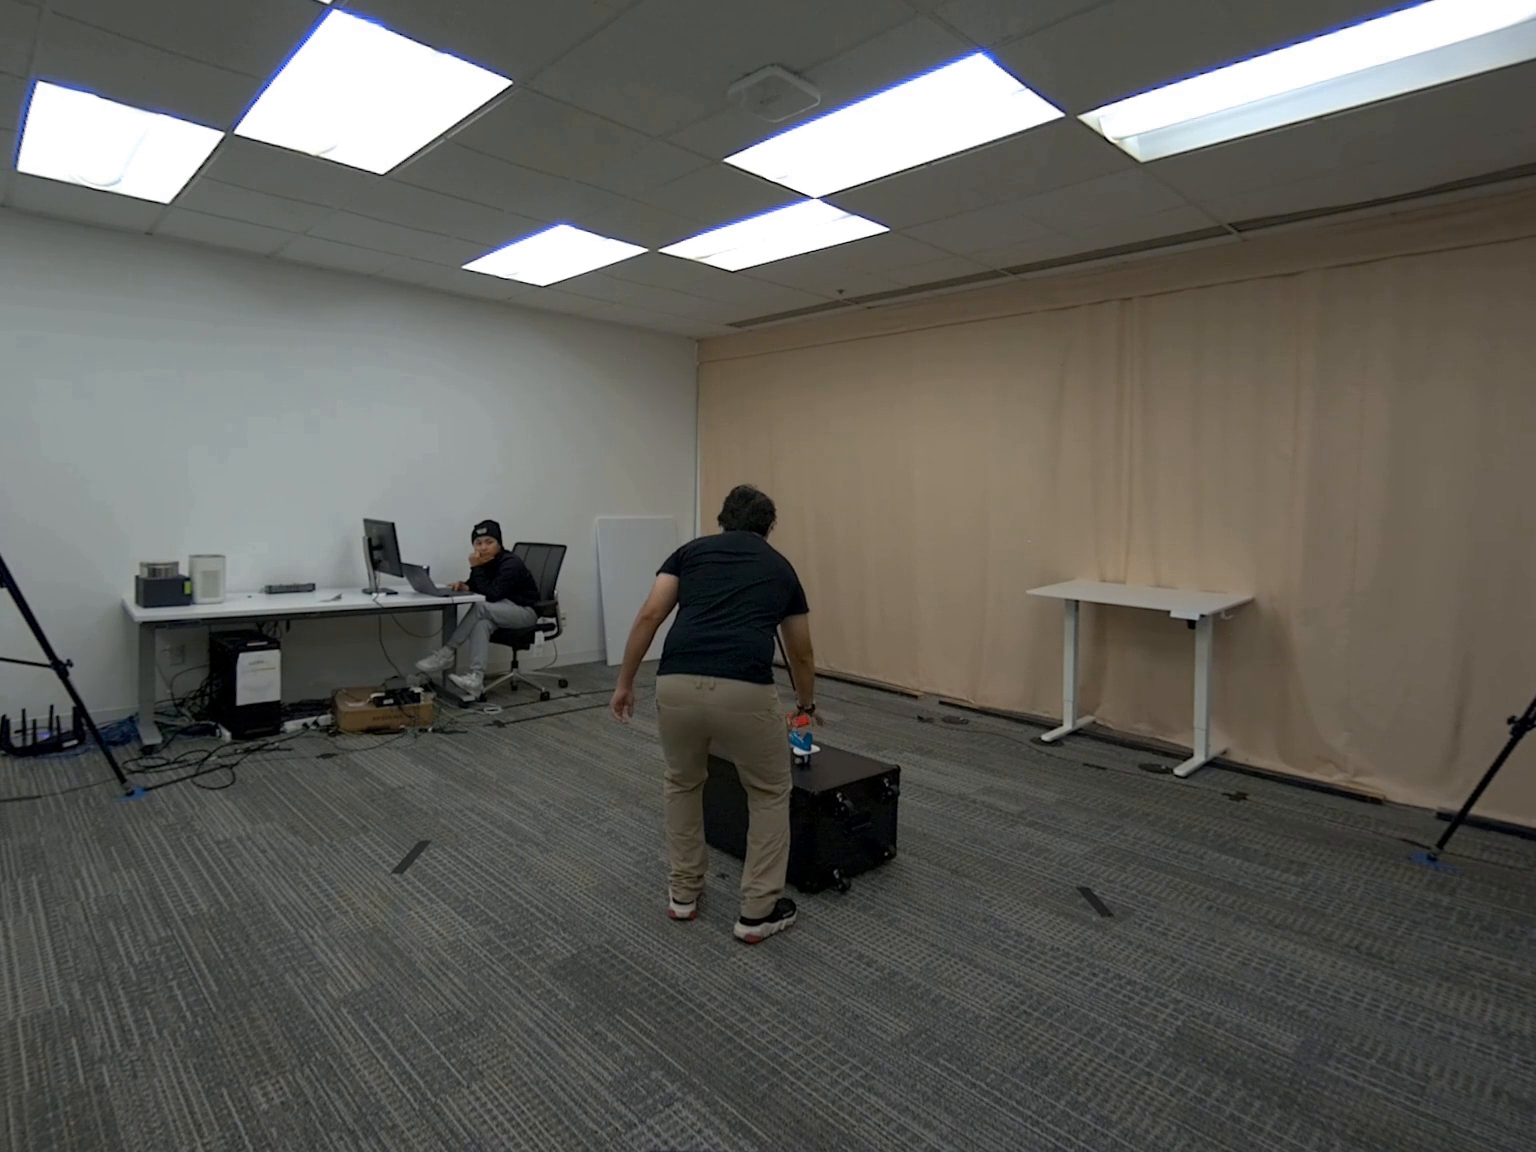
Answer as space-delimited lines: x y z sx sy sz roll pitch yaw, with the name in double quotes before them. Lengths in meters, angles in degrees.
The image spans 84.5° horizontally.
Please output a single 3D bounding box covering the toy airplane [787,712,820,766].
"toy airplane" 0.079 0.643 3.325 0.263 0.156 0.247 2 4 21
